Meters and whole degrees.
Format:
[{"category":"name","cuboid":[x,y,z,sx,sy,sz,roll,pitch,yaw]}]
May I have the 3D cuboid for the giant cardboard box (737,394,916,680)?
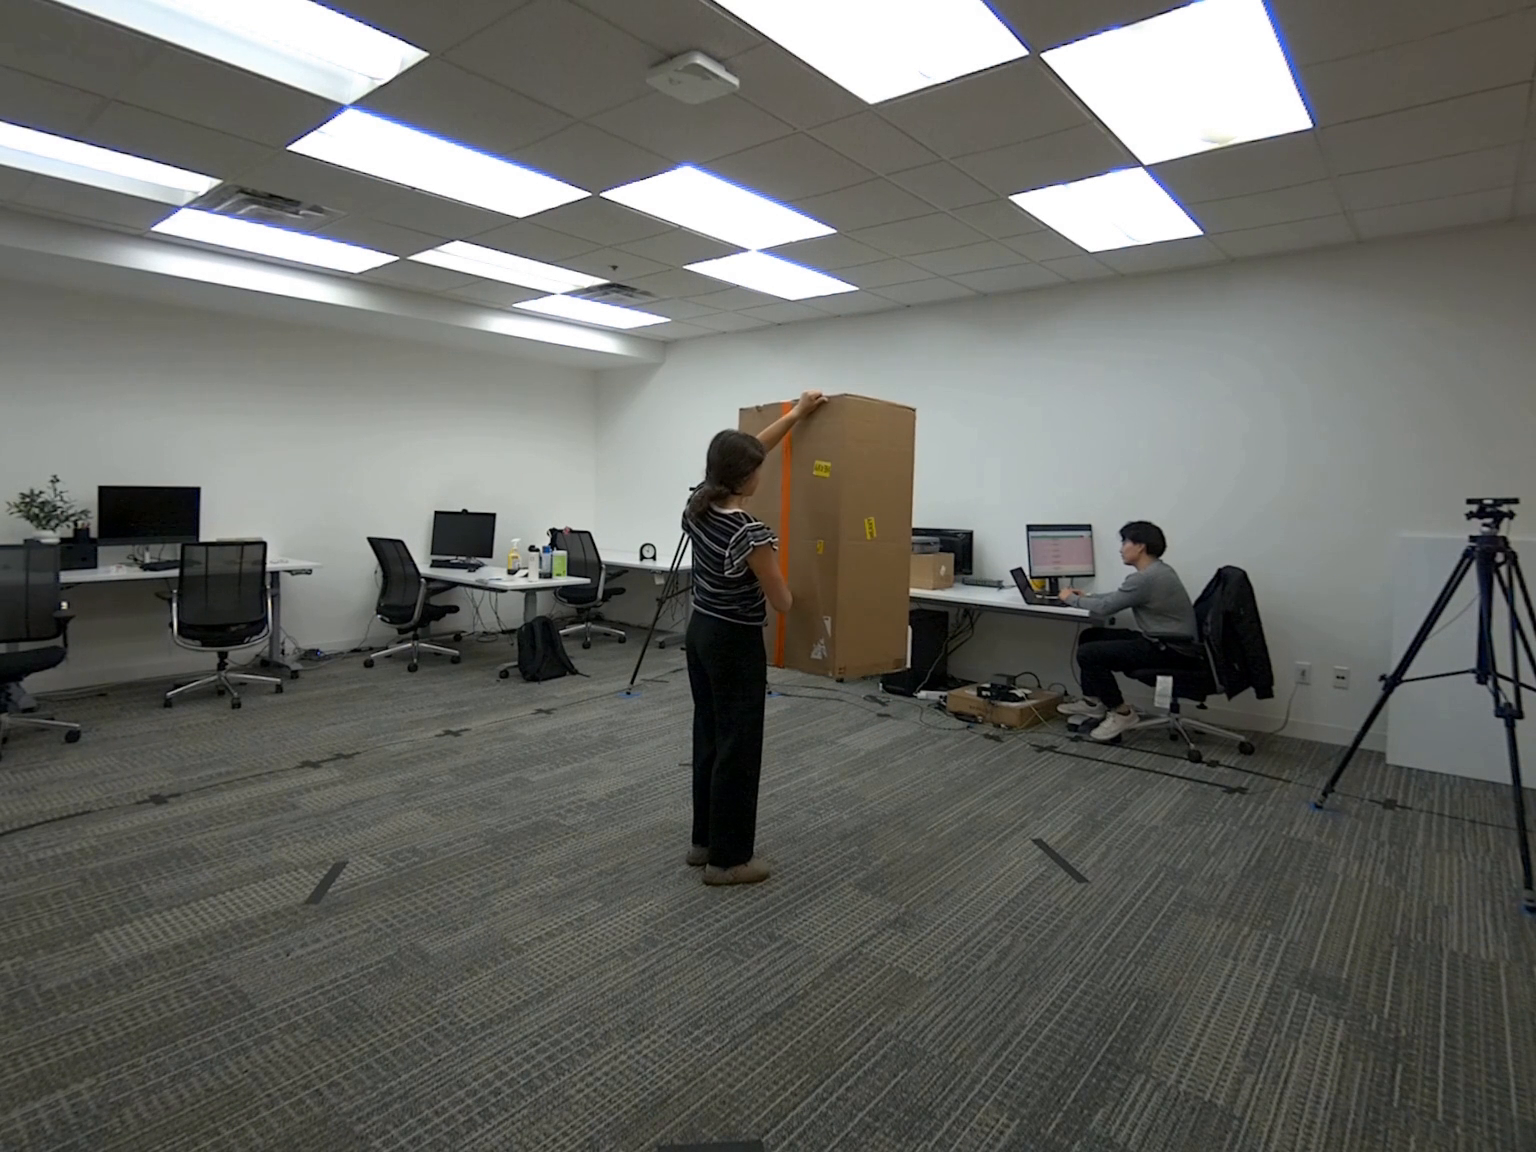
[{"category":"giant cardboard box","cuboid":[0.200,-0.158,3.377,0.412,1.026,0.596,2,0,-42]}]
